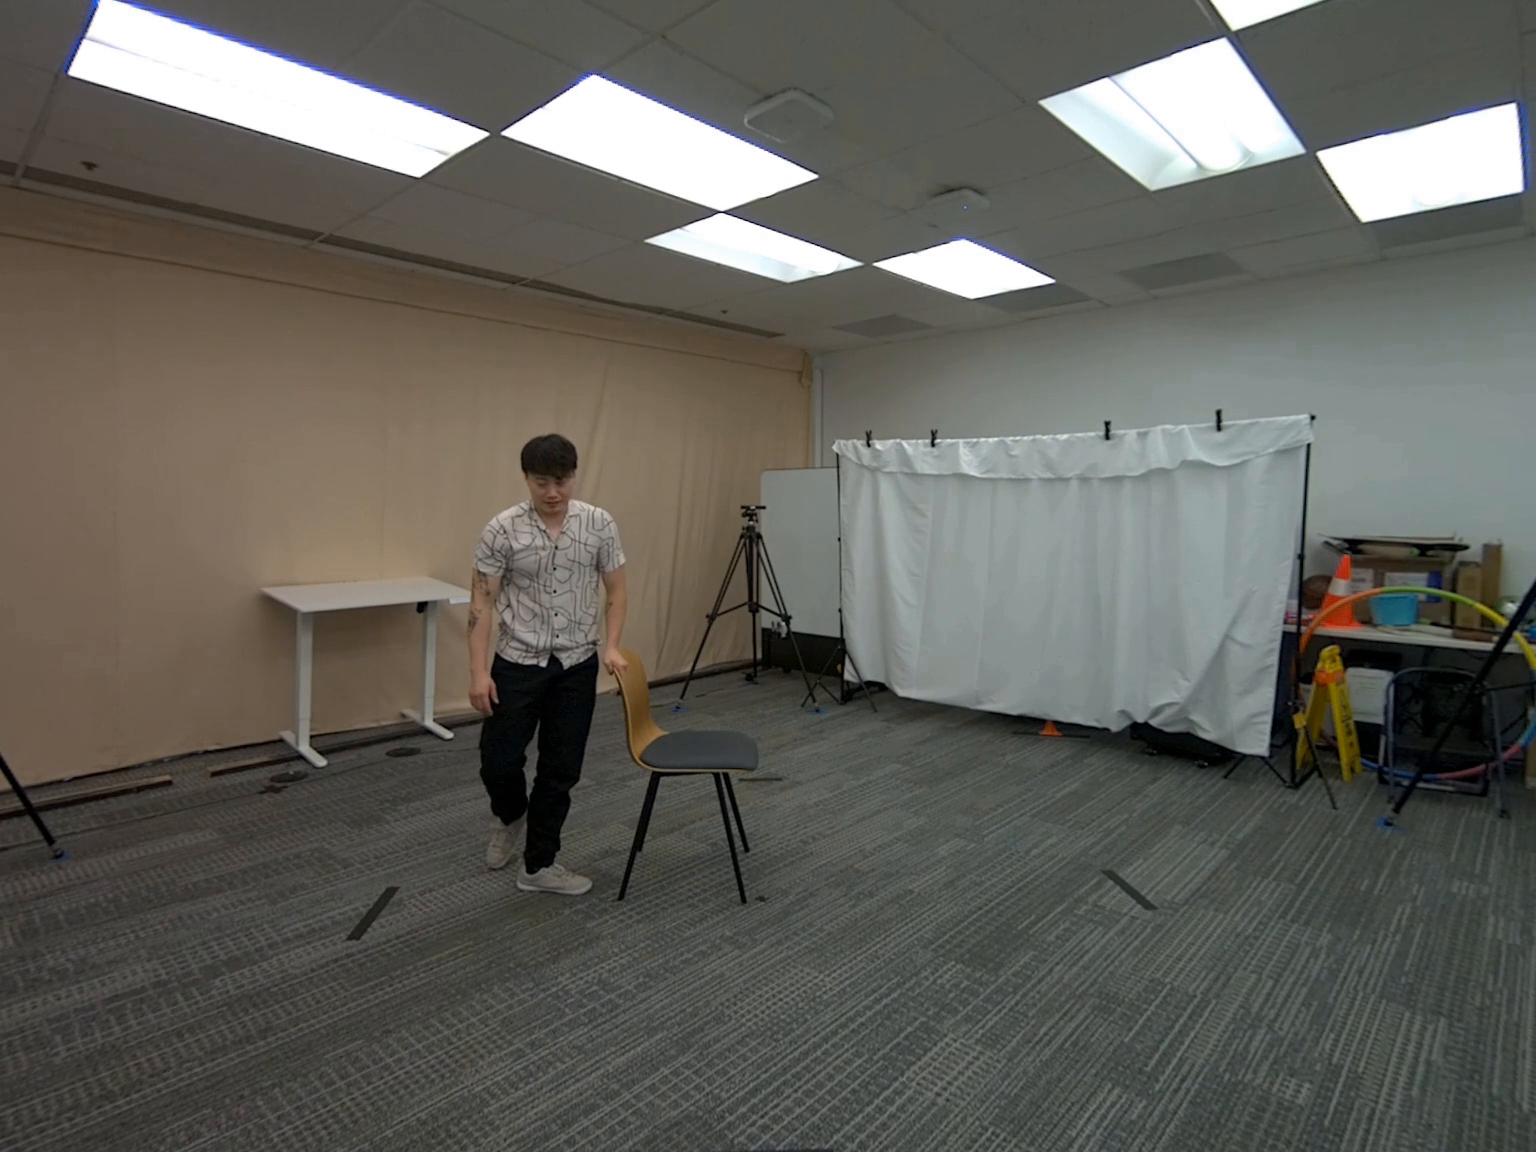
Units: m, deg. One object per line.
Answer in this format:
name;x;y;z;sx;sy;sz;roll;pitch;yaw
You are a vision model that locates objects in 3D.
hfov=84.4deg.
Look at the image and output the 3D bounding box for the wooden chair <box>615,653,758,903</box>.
wooden chair;-0.295;0.703;3.154;0.524;0.876;0.478;-5;2;2
